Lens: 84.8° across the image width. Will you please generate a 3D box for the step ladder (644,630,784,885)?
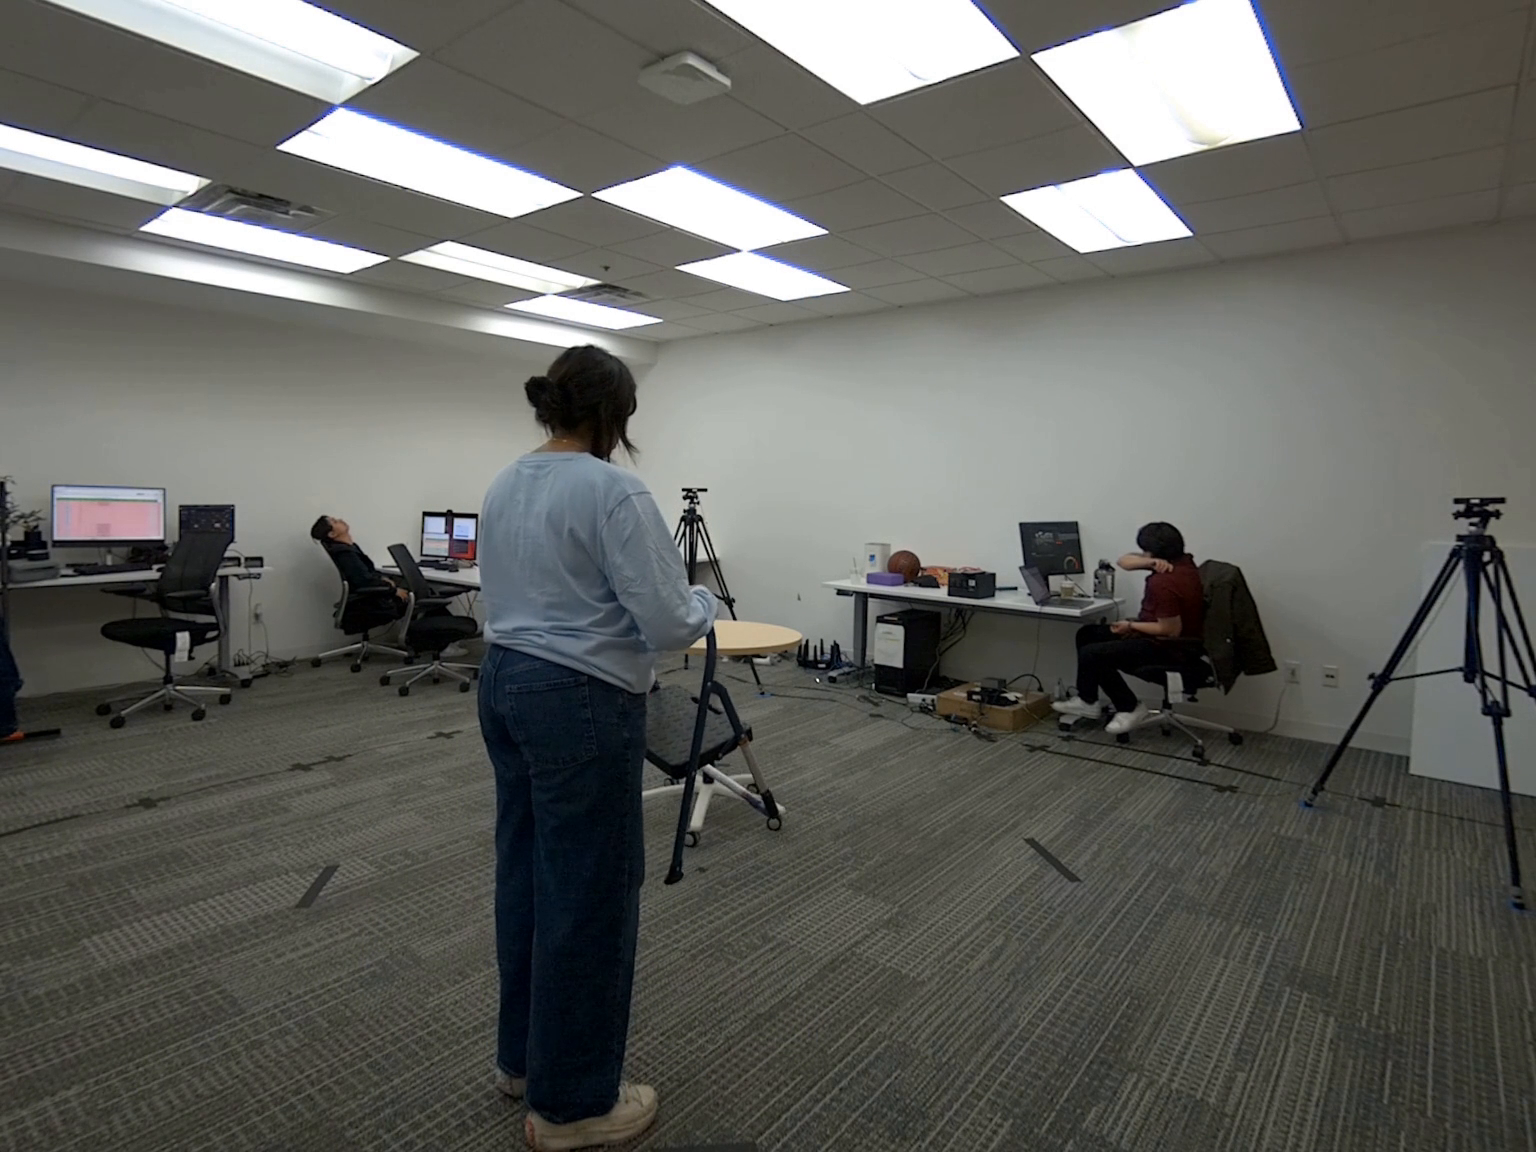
[{"bbox_3d":[-0.265,0.346,2.136,0.342,0.595,0.447,-19,22,-35],"label":"step ladder"}]
